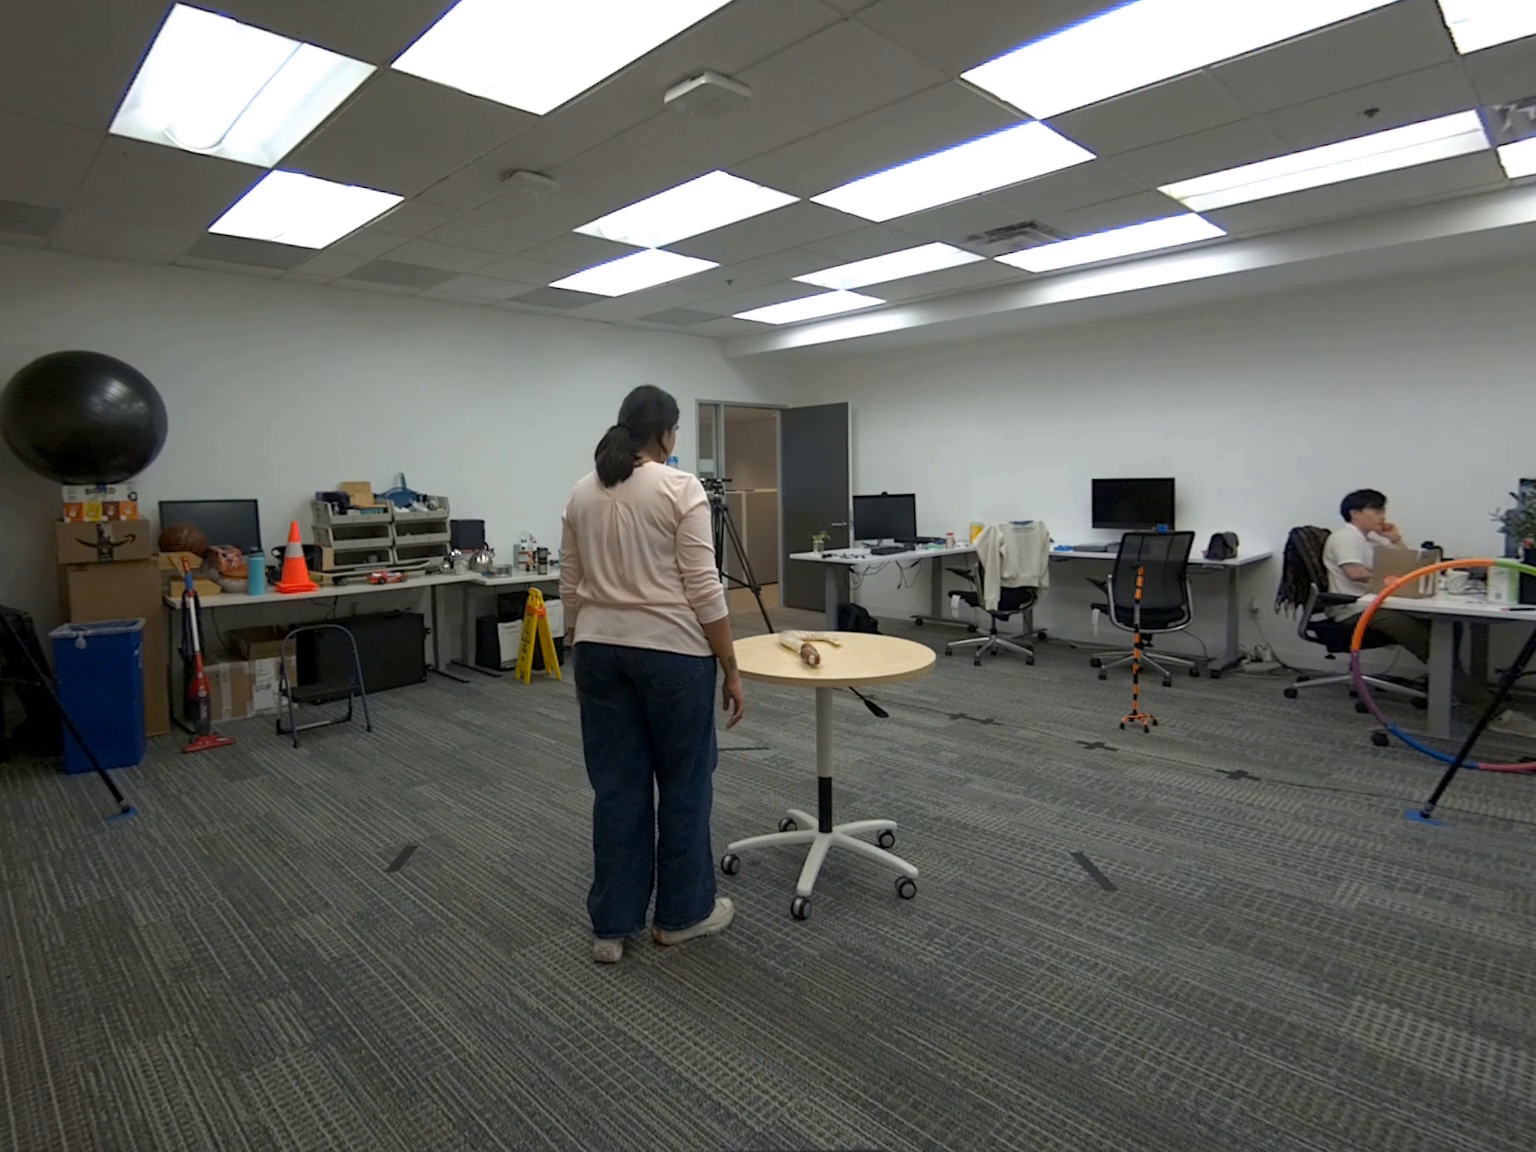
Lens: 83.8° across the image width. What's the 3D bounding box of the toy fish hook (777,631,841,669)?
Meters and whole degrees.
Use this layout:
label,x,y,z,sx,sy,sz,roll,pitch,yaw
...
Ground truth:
label,x,y,z,sx,sy,sz,roll,pitch,yaw
toy fish hook,0.176,0.245,2.984,0.224,0.048,0.511,-6,6,-5
